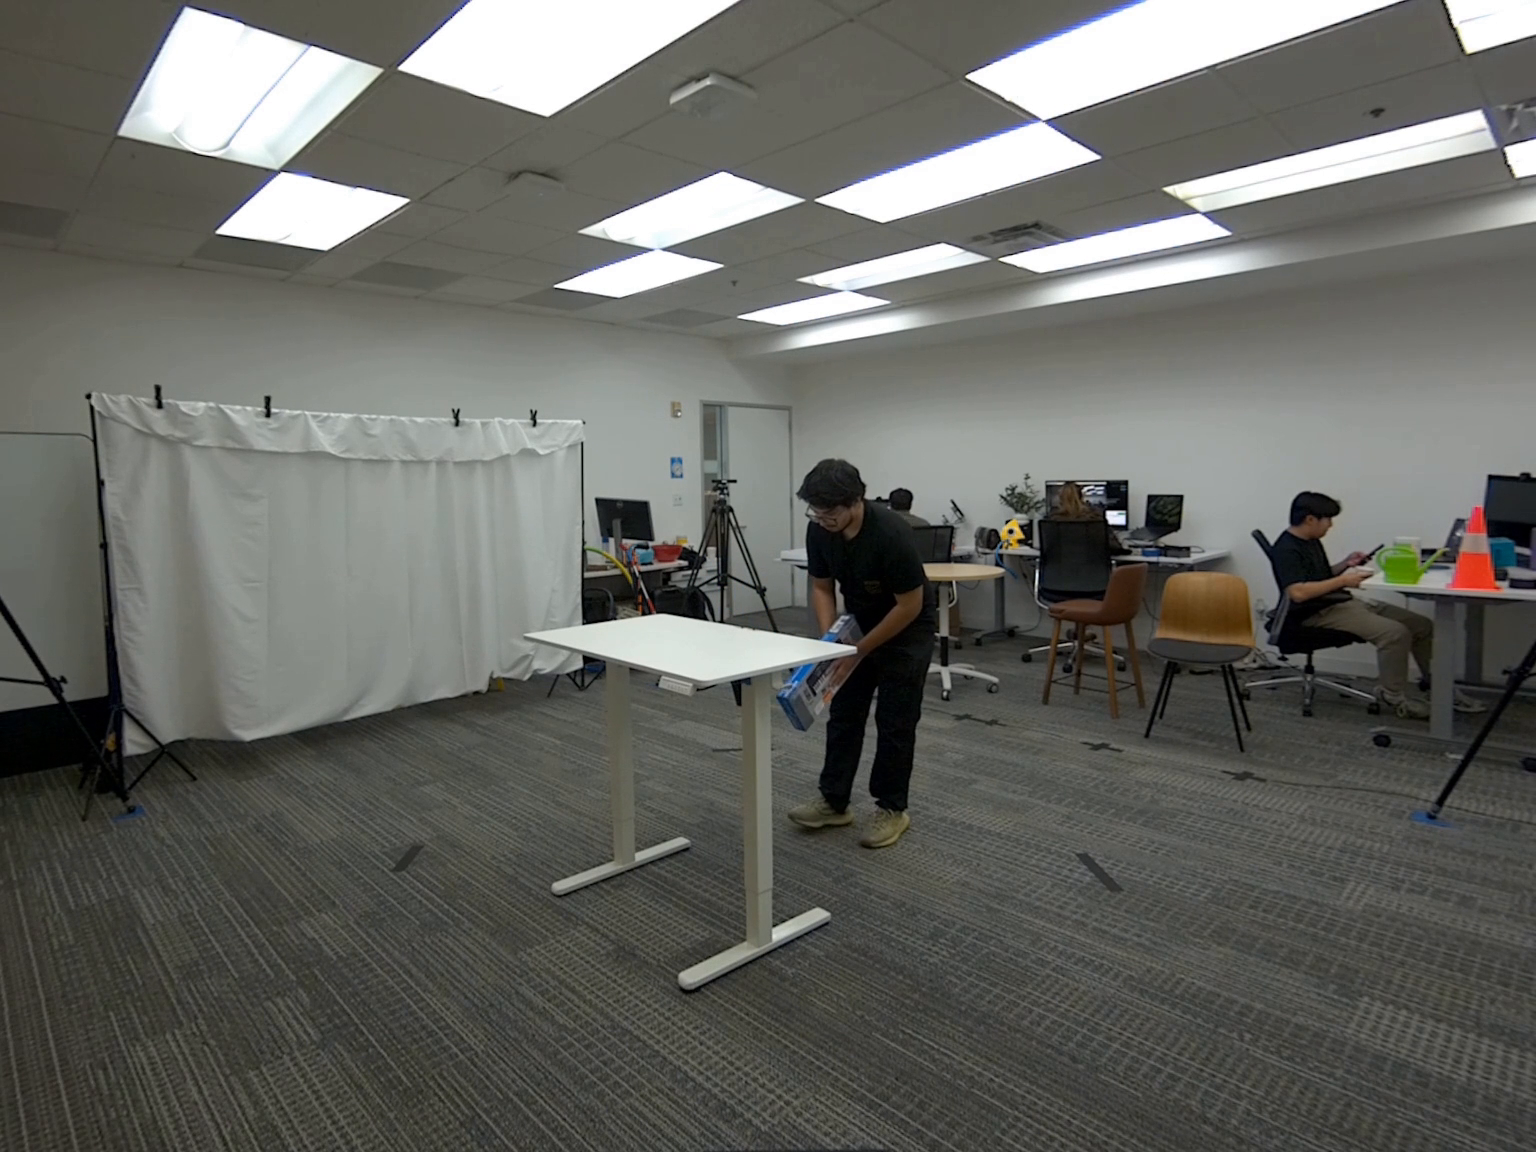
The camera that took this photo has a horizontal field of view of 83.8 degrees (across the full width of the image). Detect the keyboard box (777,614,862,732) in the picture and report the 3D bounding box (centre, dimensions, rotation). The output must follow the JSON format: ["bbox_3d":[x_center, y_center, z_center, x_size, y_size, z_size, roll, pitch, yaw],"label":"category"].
[{"bbox_3d":[0.206,0.354,3.123,0.061,0.171,0.436,4,43,49],"label":"keyboard box"}]
